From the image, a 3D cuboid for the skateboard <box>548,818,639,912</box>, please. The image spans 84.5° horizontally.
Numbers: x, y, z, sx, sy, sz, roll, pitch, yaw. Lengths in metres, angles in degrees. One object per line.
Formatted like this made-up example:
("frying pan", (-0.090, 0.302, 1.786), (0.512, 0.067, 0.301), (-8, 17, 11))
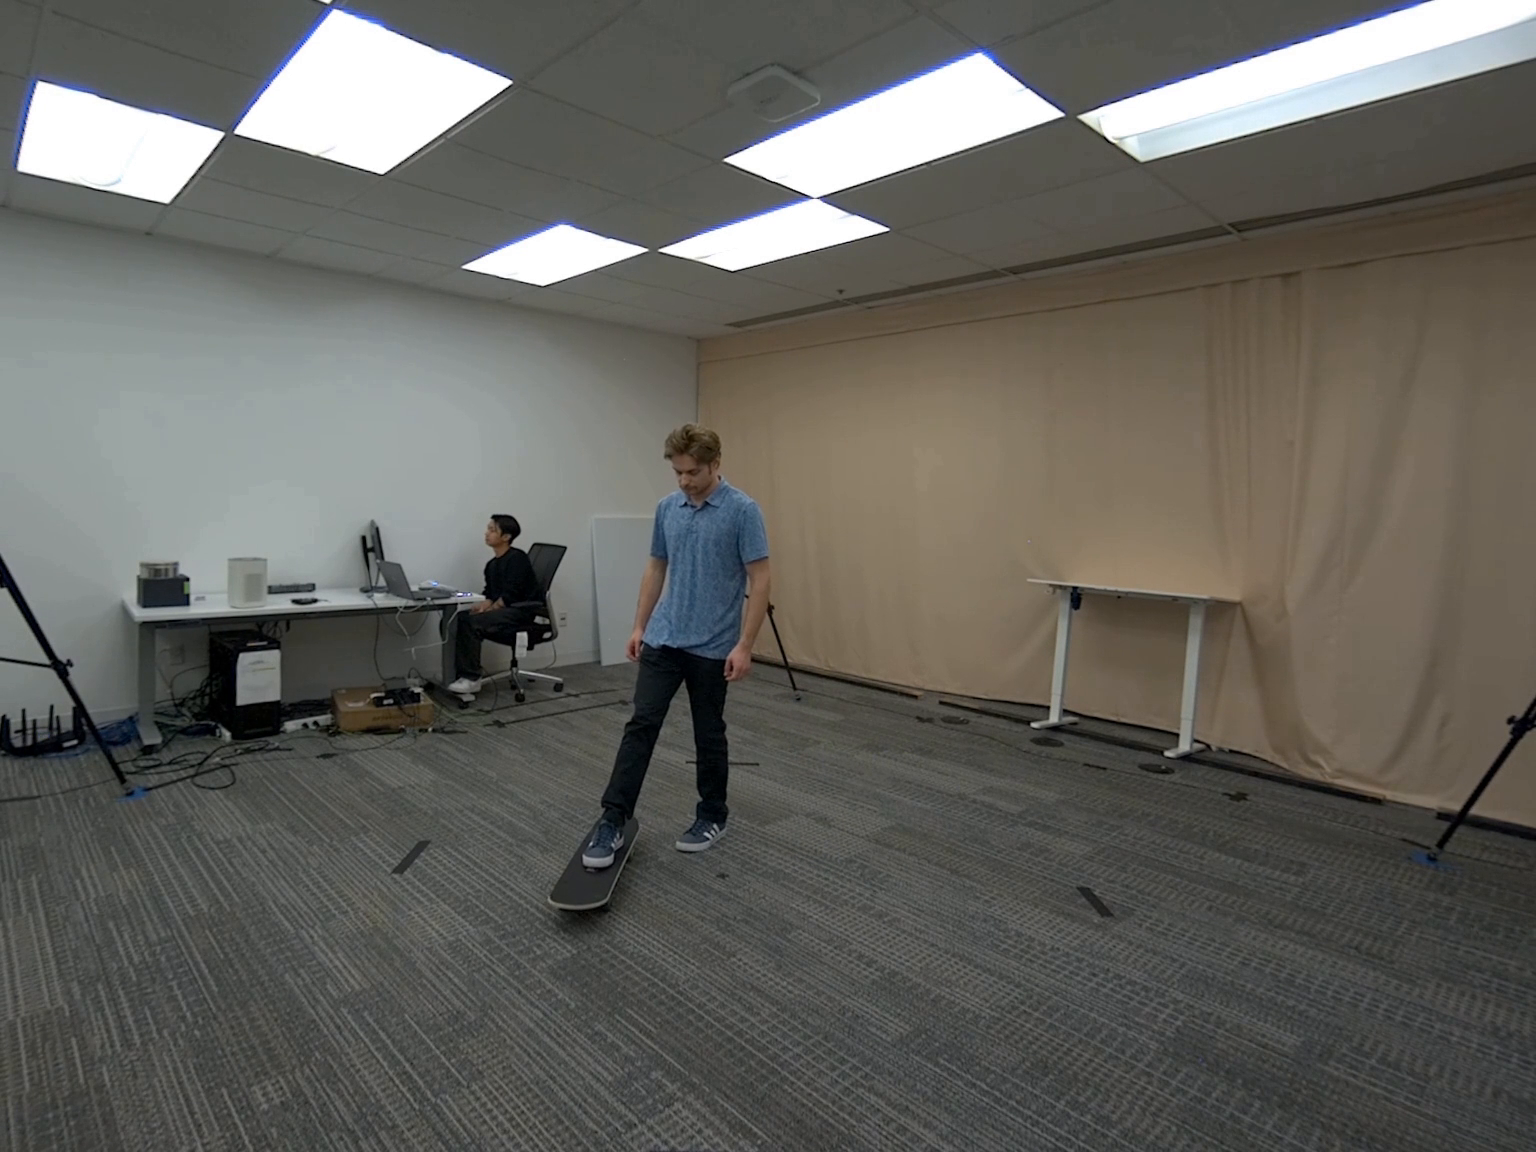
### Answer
("skateboard", (-0.612, 1.047, 3.031), (0.194, 0.110, 0.786), (3, 6, 1))
